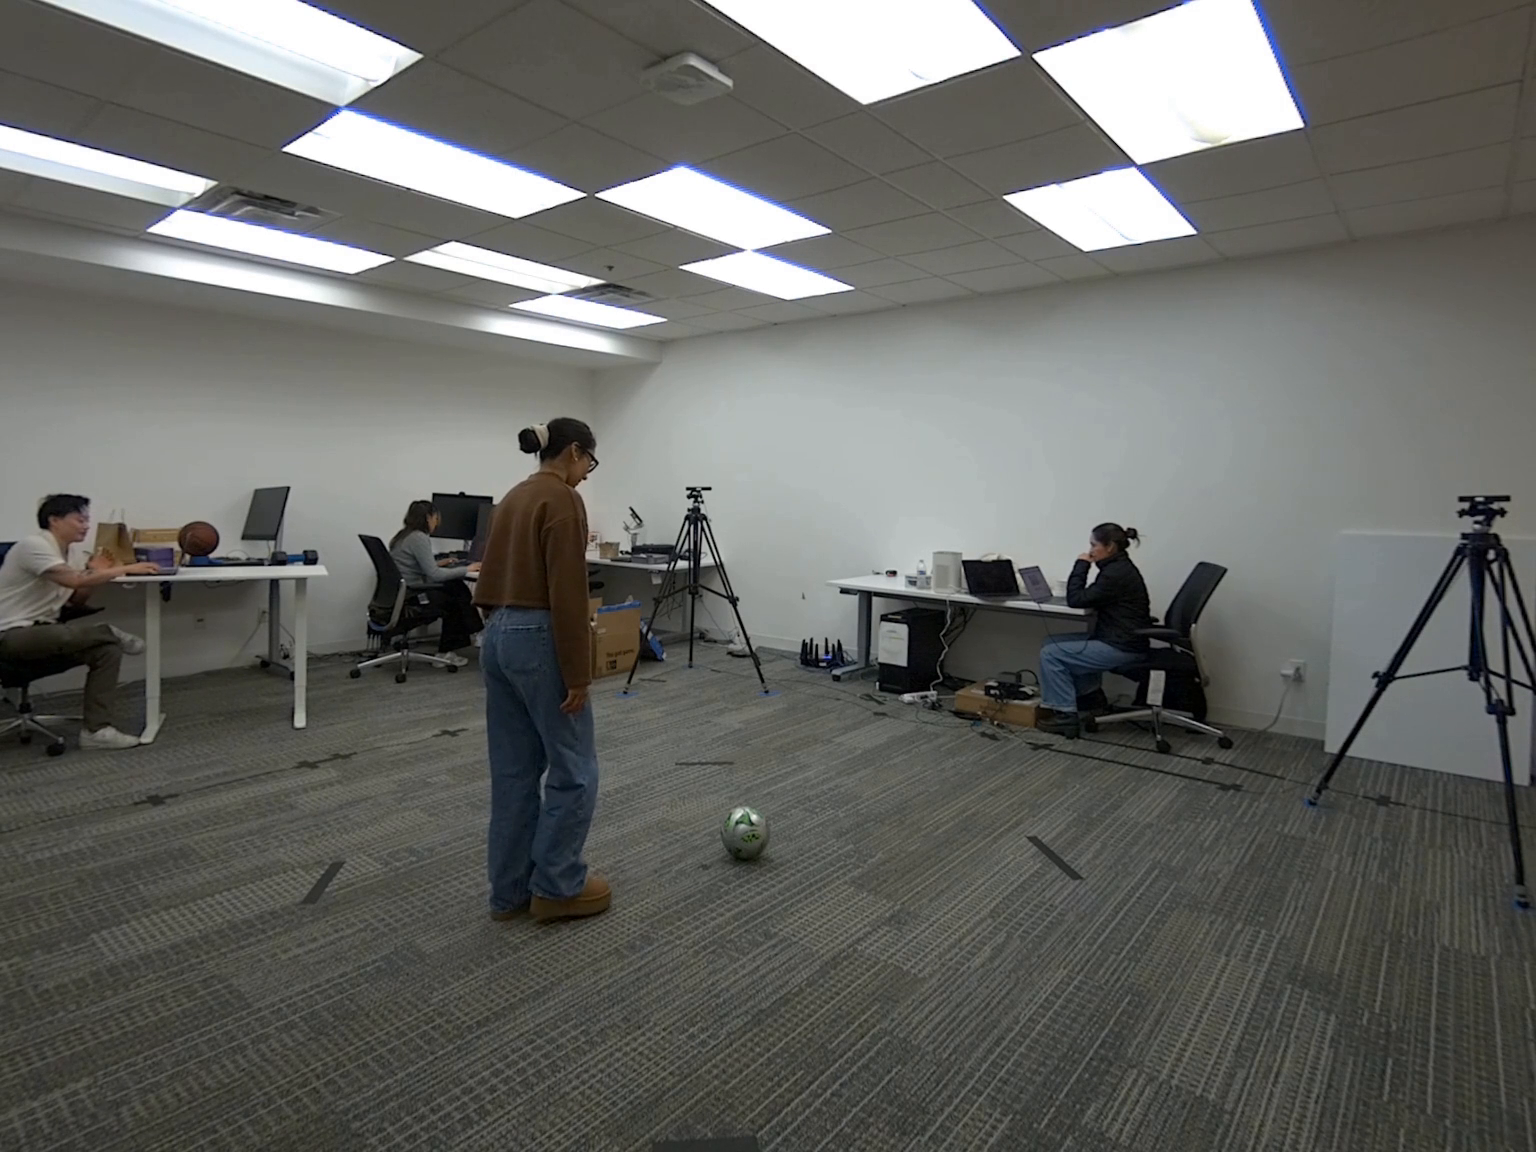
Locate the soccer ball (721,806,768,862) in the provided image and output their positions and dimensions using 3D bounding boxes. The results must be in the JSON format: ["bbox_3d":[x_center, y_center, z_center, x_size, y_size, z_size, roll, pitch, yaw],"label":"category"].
[{"bbox_3d":[-0.093,0.961,3.206,0.187,0.187,0.188,1,4,-2],"label":"soccer ball"}]
